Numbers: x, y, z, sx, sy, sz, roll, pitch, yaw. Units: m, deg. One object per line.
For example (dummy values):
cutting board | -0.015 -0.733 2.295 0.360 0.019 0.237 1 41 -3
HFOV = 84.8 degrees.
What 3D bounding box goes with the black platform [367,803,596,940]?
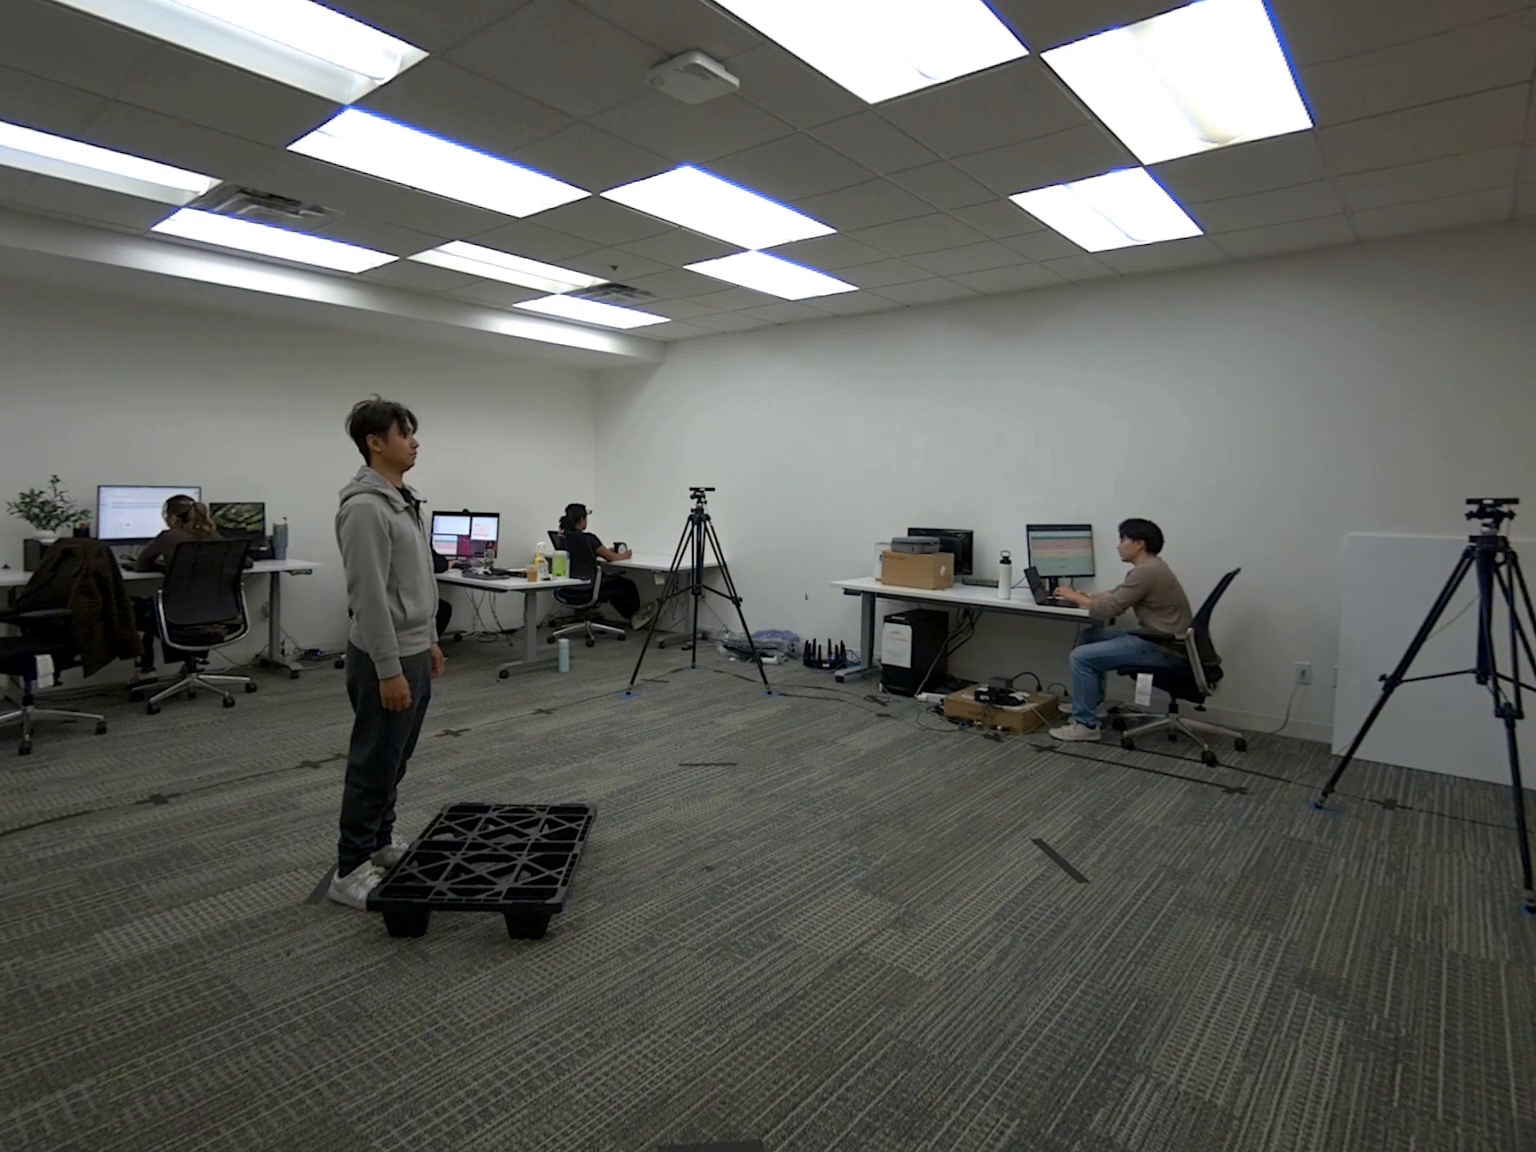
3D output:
black platform | -0.958 1.002 2.957 0.604 0.143 0.810 0 5 -2
